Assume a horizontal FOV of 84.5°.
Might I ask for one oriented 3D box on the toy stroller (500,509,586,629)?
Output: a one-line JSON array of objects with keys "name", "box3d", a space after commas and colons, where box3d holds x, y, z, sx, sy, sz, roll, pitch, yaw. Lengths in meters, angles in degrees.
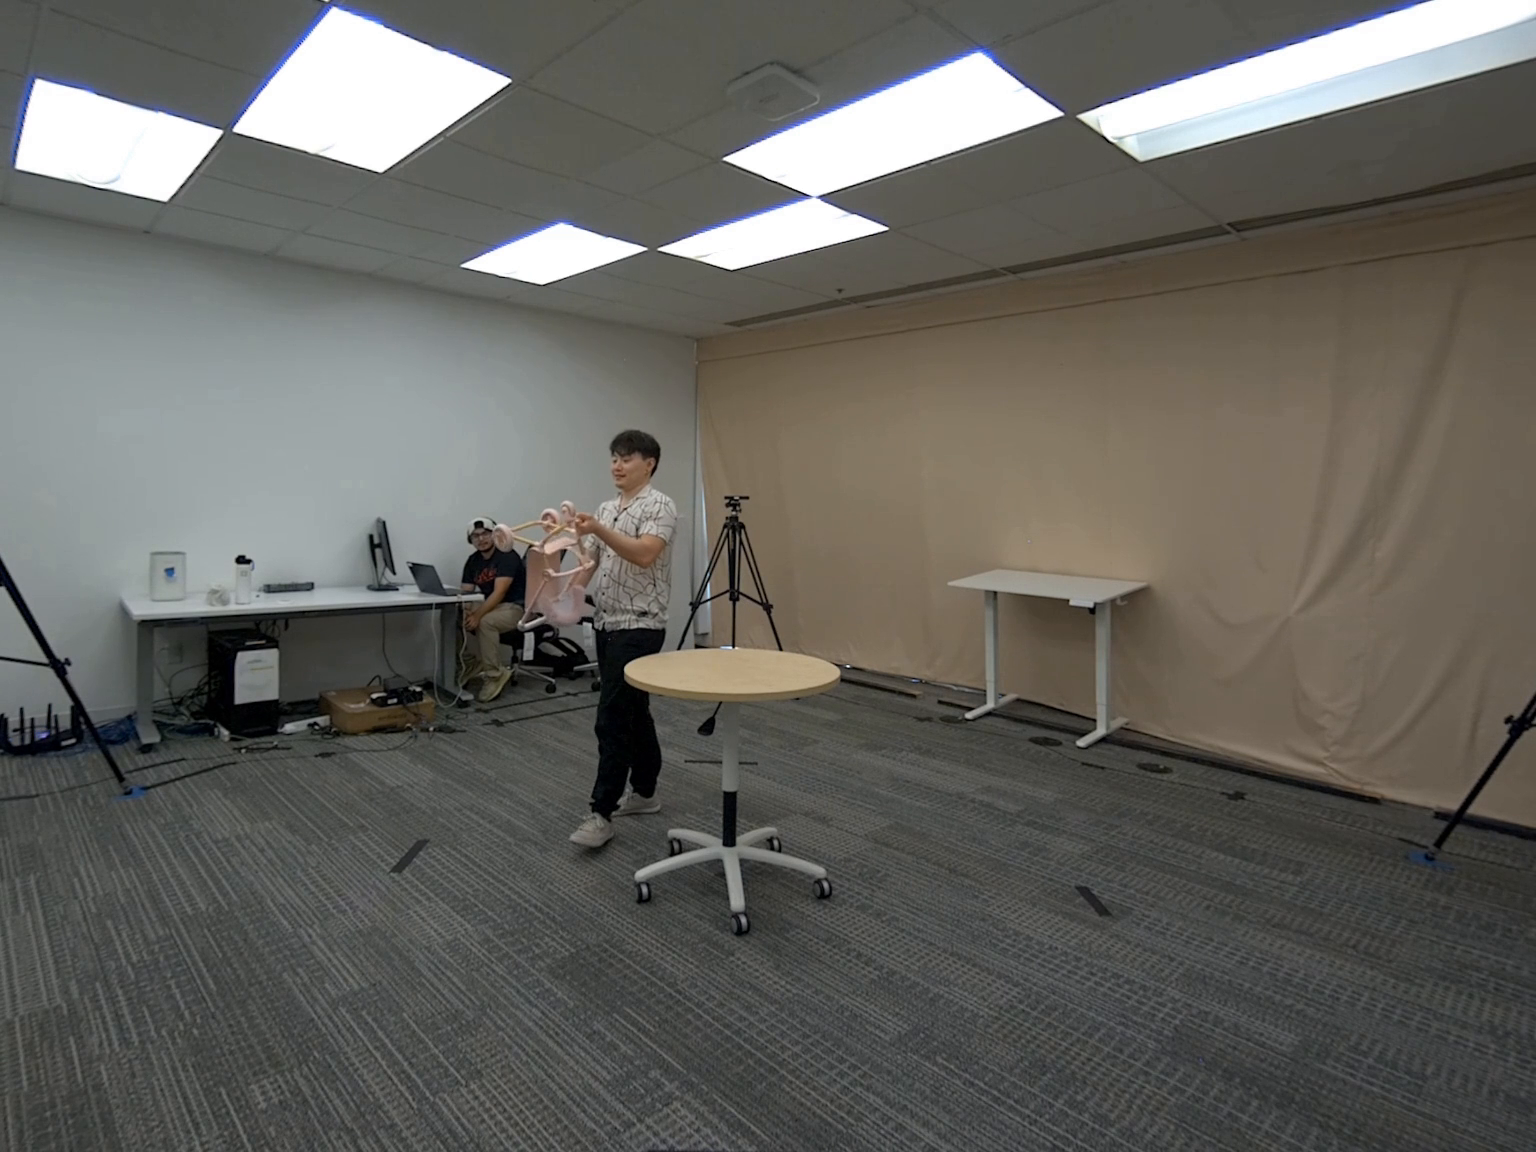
[{"name": "toy stroller", "box3d": [-0.831, -0.035, 3.262, 0.348, 0.529, 0.278, 2, 16, 30]}]
